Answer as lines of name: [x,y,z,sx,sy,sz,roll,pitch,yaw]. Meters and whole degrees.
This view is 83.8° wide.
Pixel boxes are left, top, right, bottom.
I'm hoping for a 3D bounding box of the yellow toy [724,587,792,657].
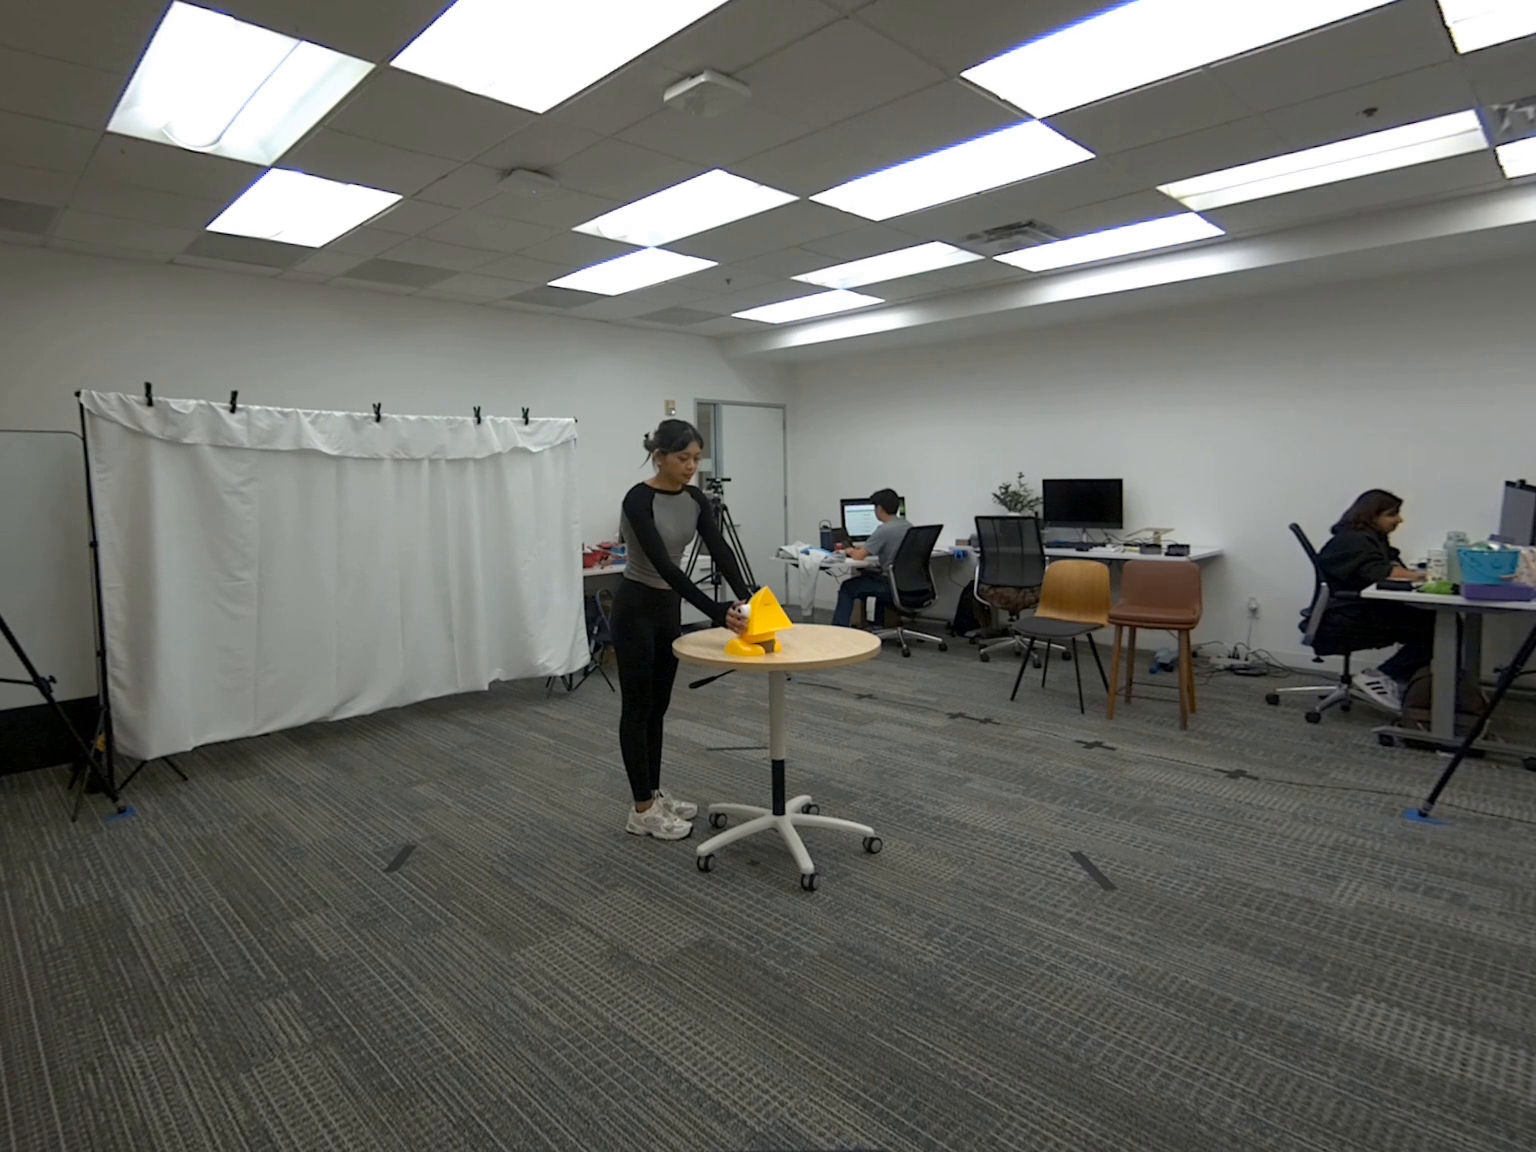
yellow toy: [-0.045,0.146,2.993,0.199,0.230,0.199,3,7,43]
